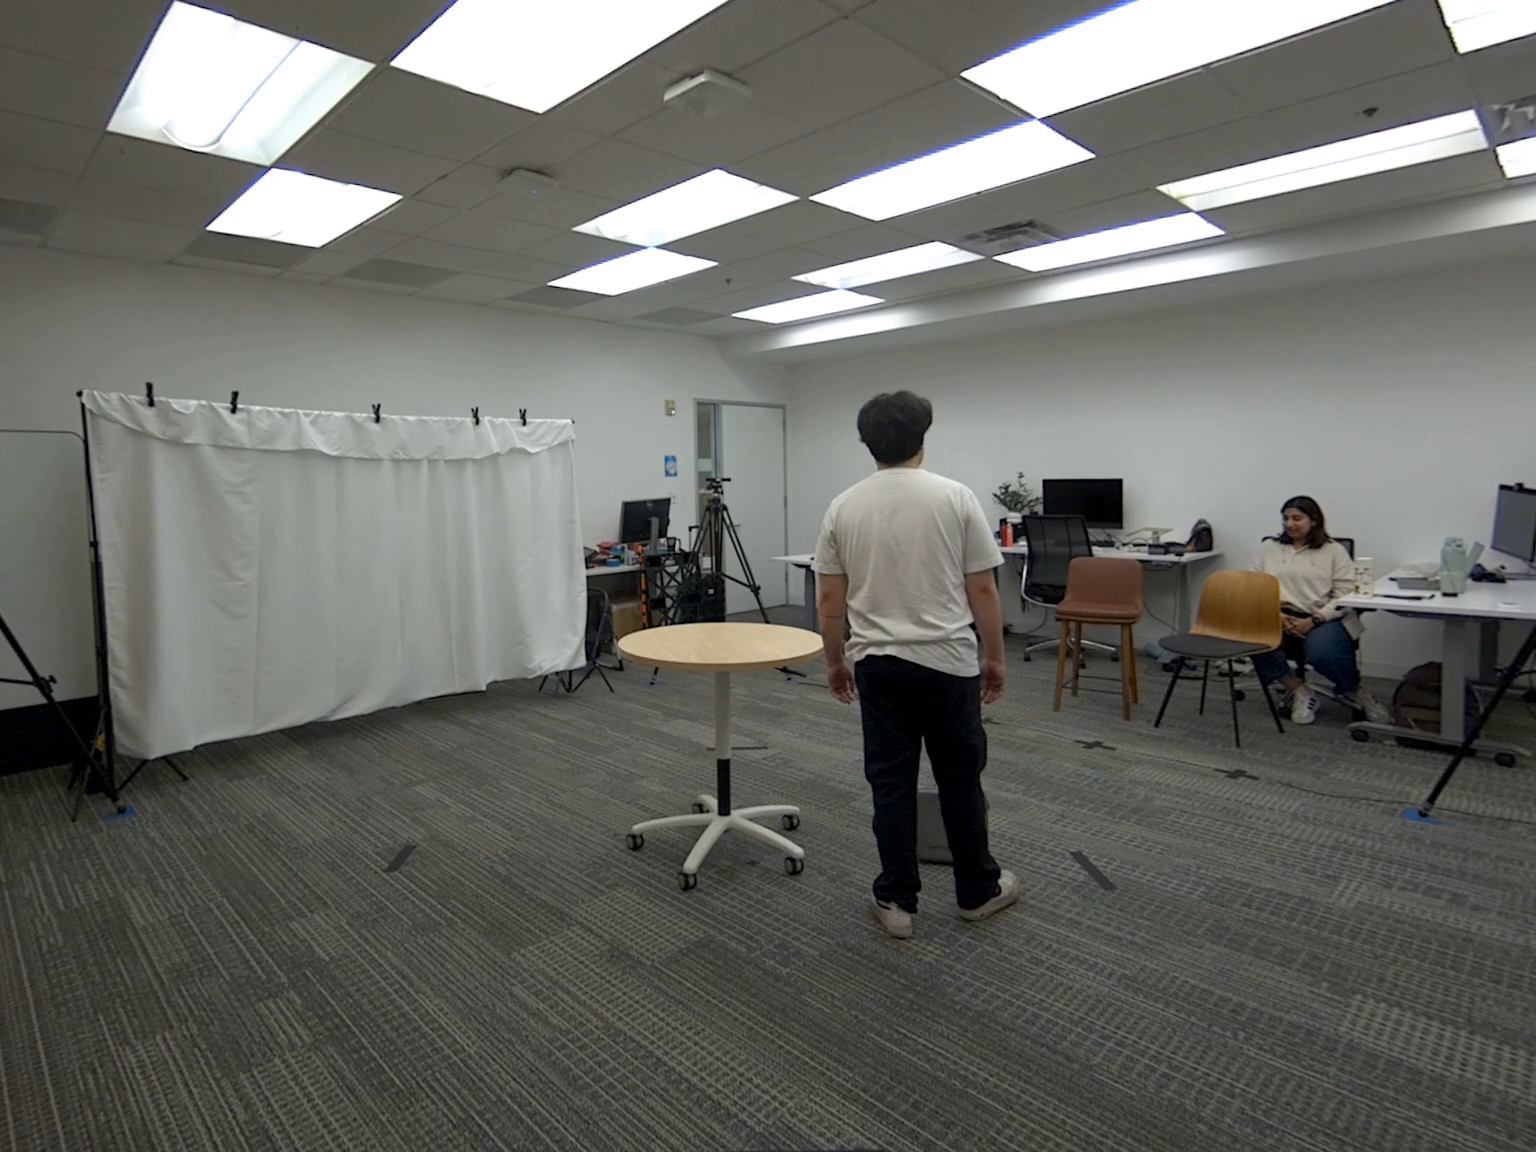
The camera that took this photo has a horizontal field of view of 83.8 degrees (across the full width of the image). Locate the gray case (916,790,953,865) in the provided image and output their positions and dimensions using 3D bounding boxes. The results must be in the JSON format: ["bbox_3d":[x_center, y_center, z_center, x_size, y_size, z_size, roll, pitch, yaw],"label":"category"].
[{"bbox_3d":[0.672,0.905,3.100,0.260,0.262,0.102,-1,-7,12],"label":"gray case"}]
